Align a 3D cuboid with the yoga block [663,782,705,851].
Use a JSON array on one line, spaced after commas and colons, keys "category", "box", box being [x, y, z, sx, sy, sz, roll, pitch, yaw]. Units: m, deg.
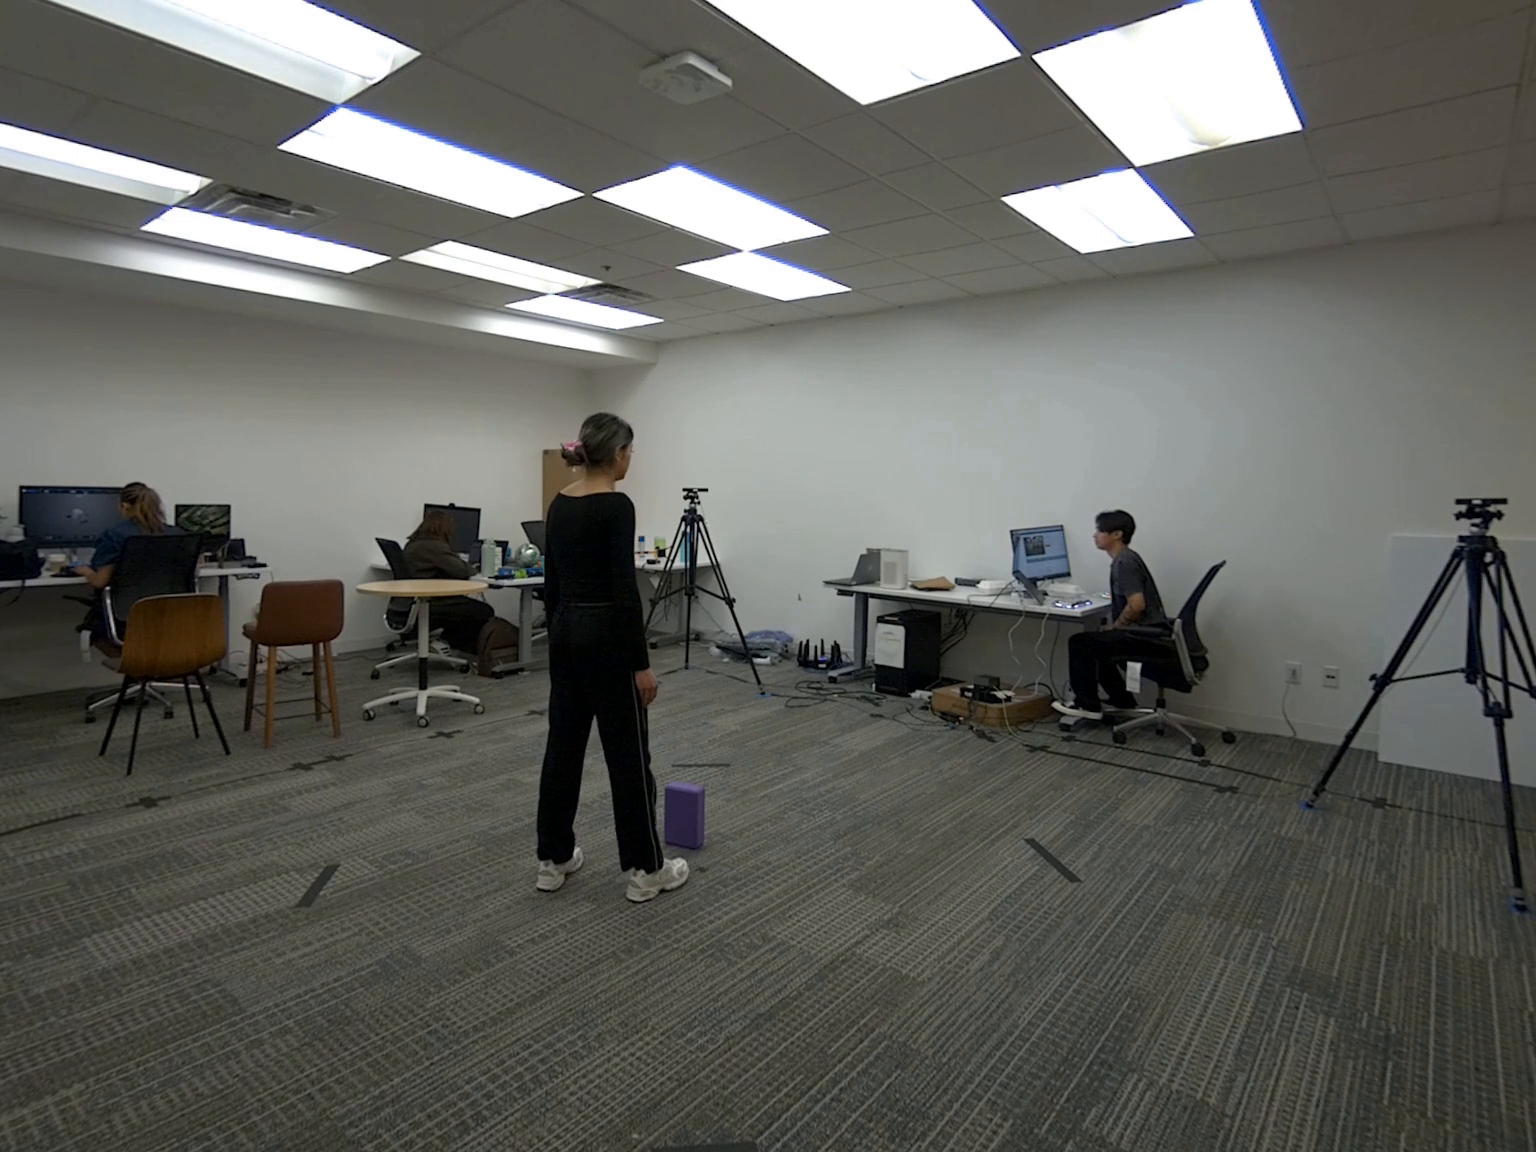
[{"category": "yoga block", "box": [-0.338, 0.930, 3.331, 0.153, 0.229, 0.074, 2, 2, 25]}]
